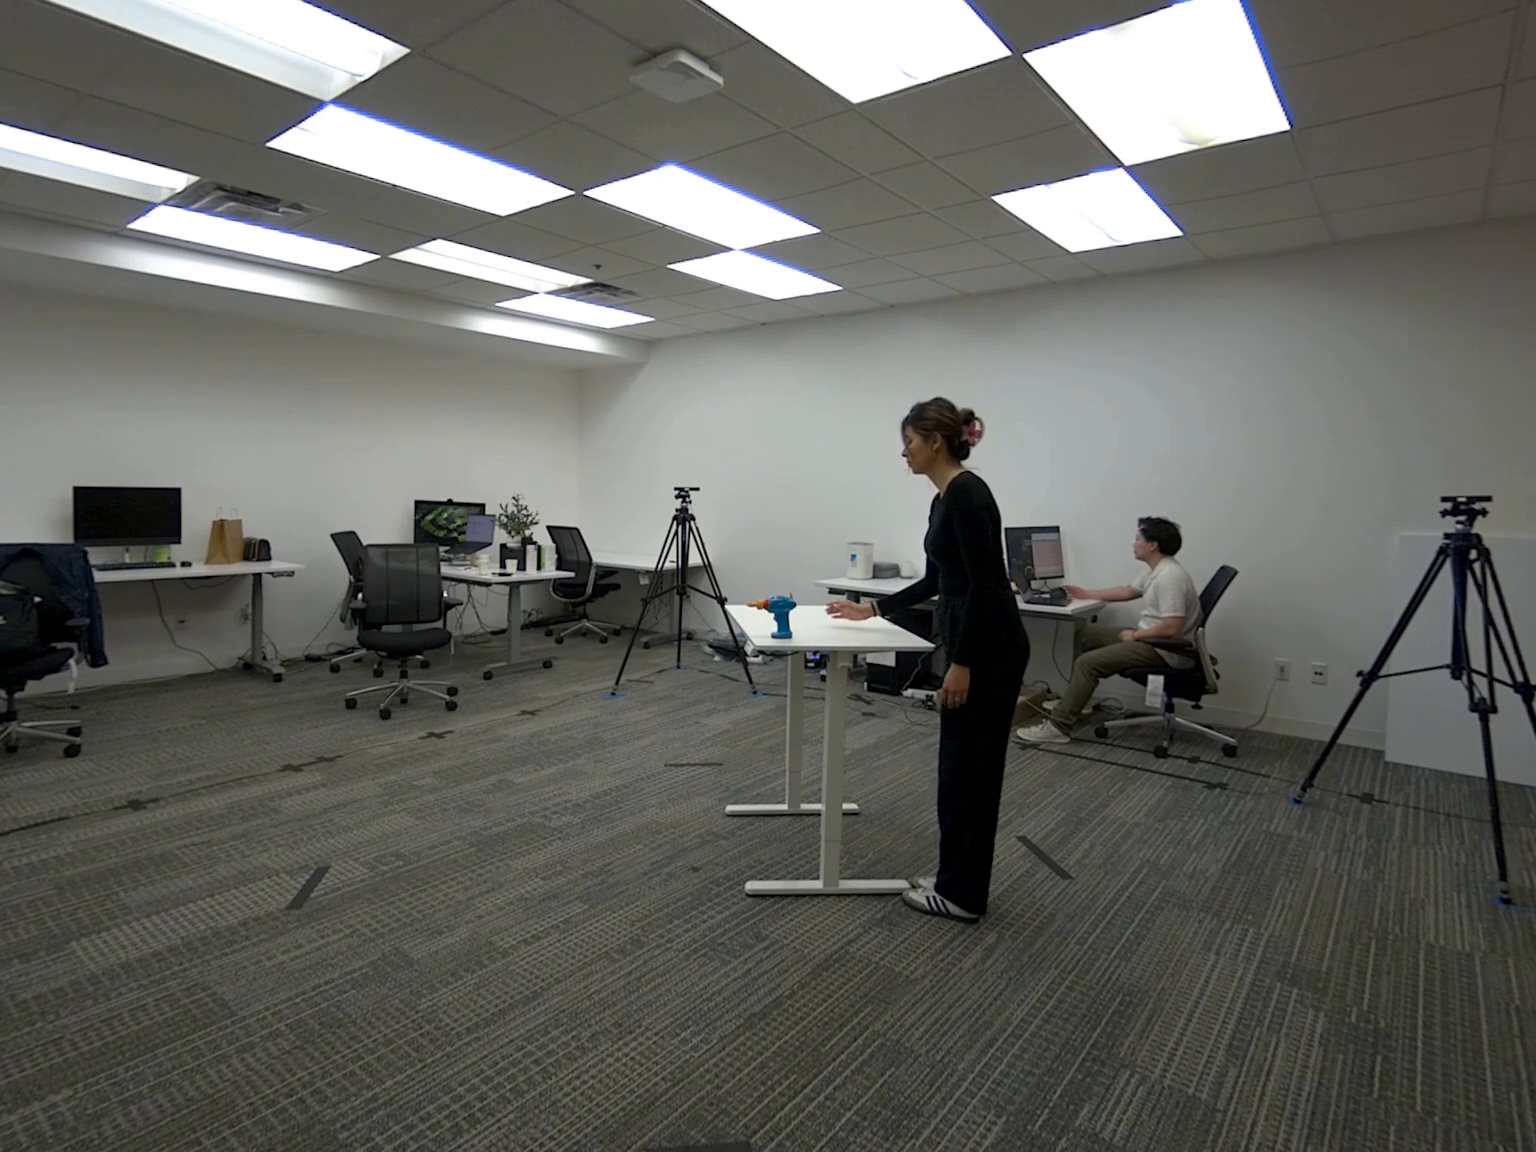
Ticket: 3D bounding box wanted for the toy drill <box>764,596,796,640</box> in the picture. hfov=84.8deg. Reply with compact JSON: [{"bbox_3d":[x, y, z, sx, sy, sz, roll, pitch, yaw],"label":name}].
[{"bbox_3d":[0.003,0.135,2.898,0.169,0.146,0.061,1,1,-4],"label":"toy drill"}]
